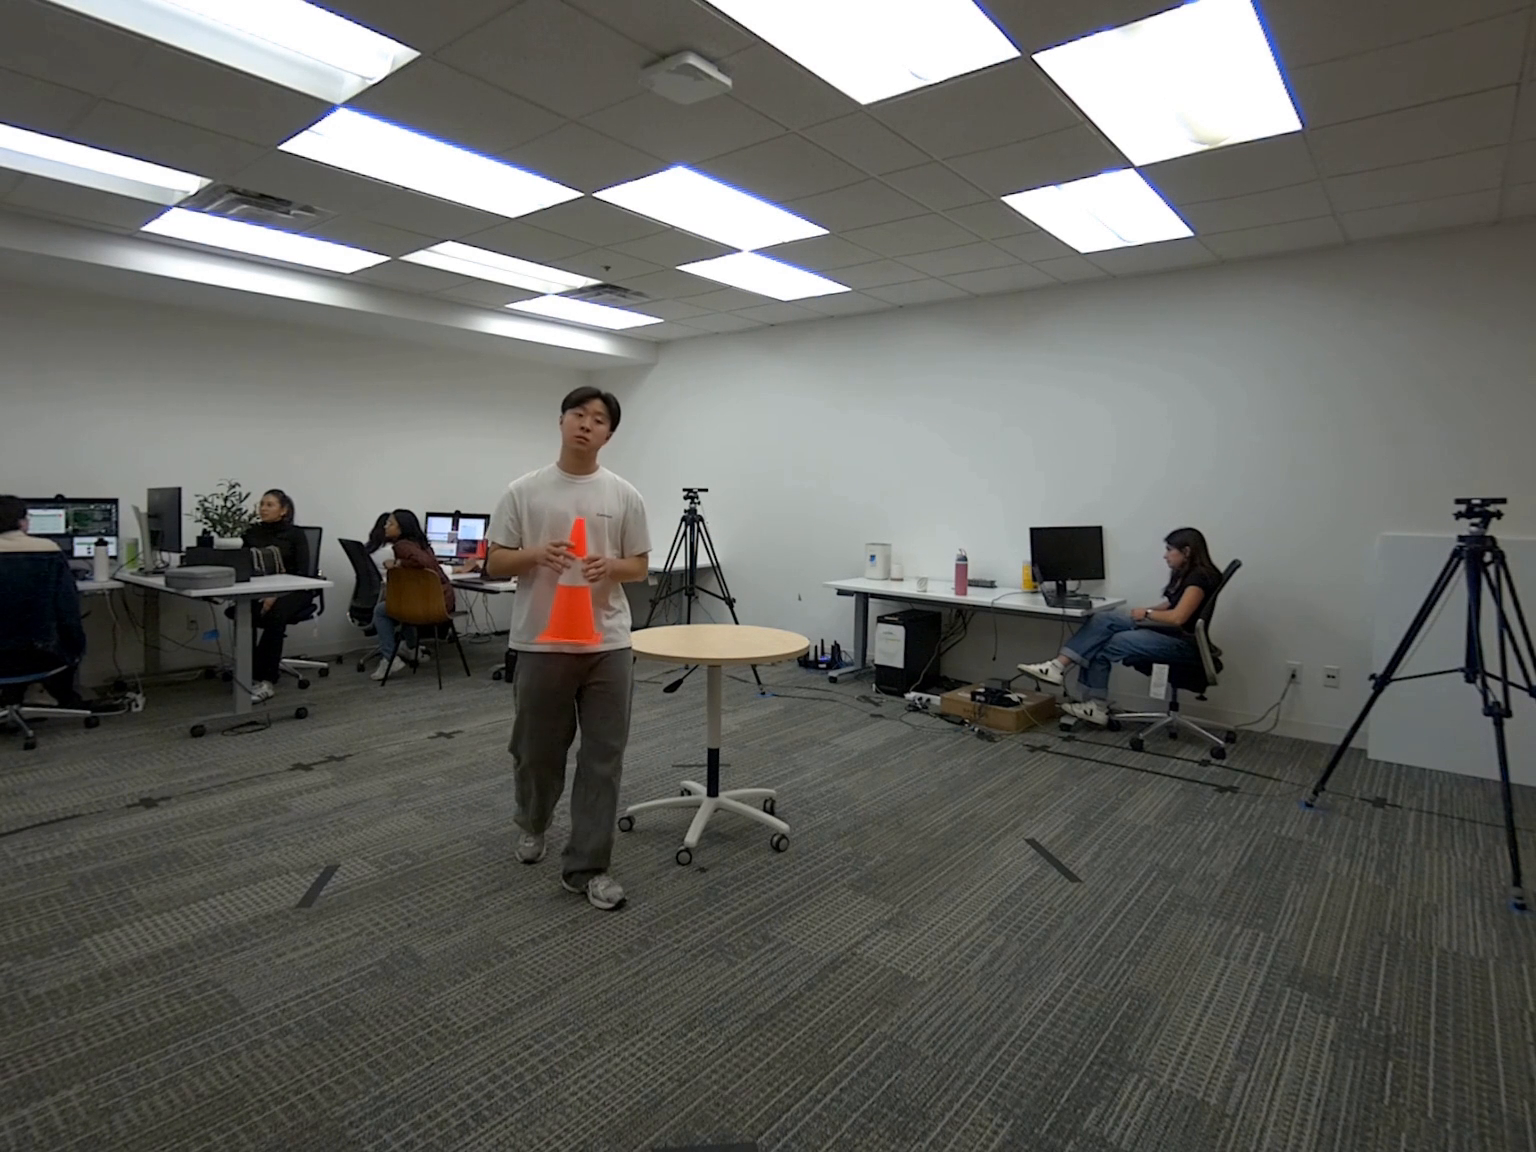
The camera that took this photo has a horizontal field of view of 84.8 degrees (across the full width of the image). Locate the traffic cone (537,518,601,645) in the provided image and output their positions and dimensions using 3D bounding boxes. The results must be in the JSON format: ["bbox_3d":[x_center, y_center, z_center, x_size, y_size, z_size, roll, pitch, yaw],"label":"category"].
[{"bbox_3d":[-0.620,-0.002,2.712,0.208,0.382,0.201,7,4,10],"label":"traffic cone"}]
